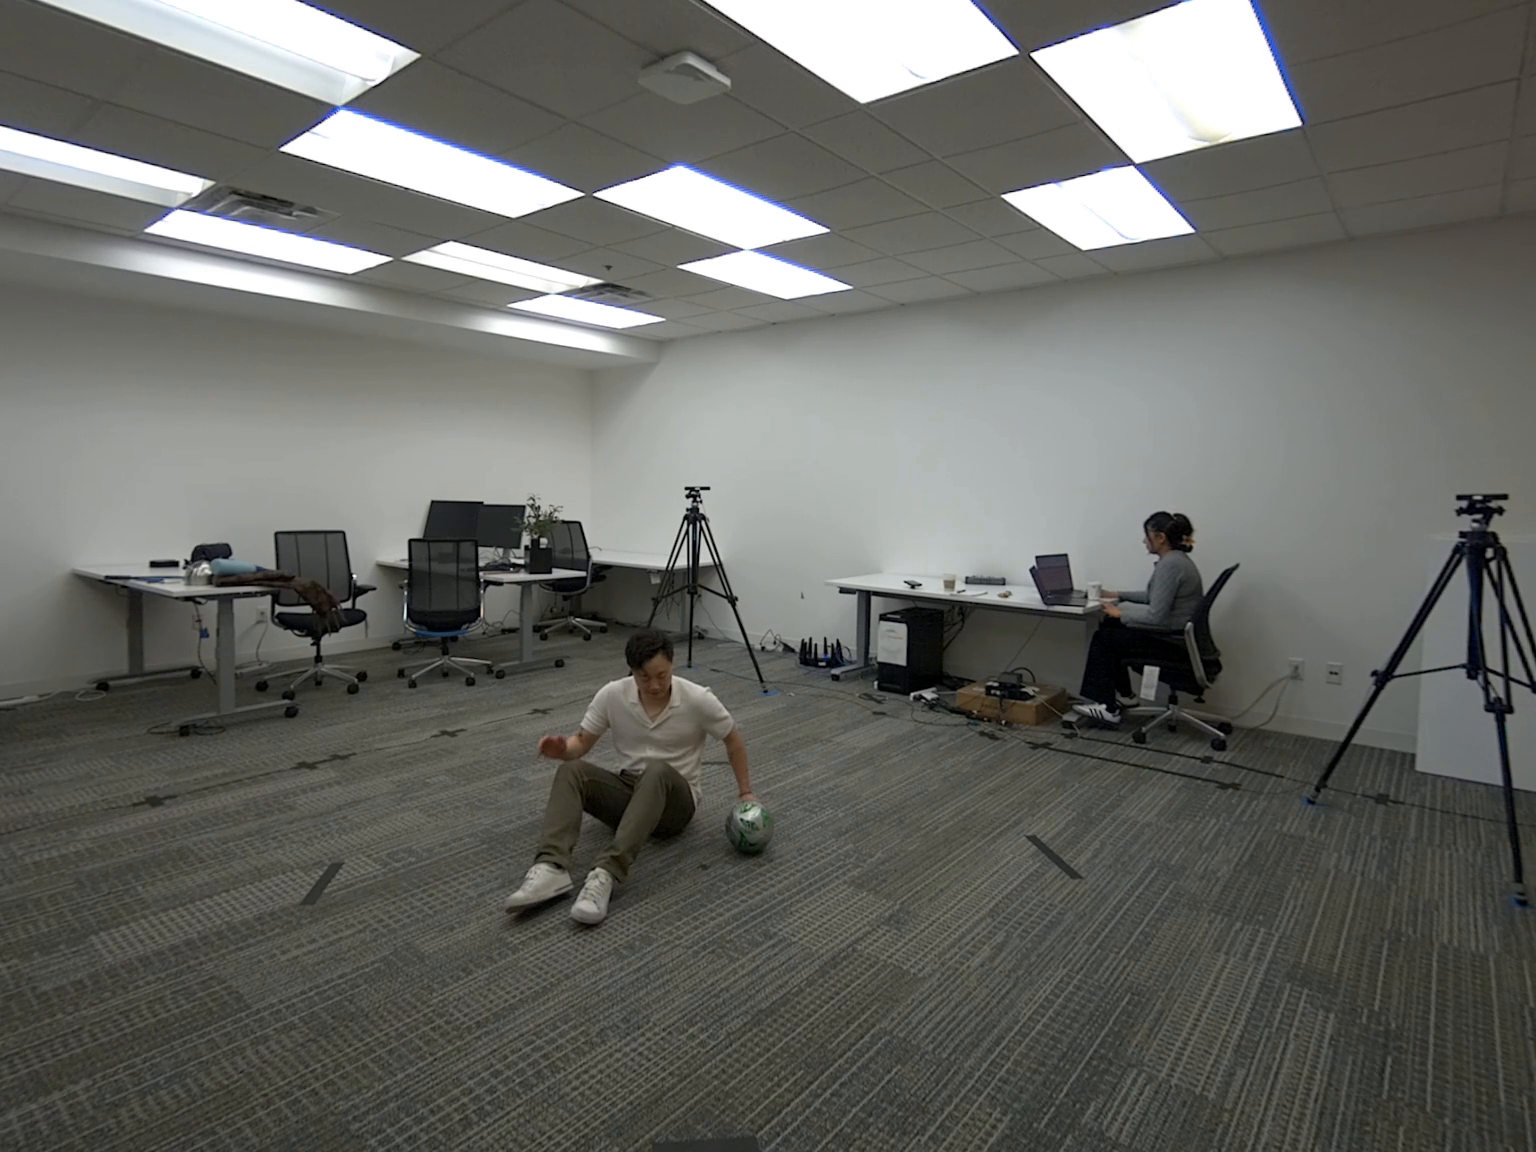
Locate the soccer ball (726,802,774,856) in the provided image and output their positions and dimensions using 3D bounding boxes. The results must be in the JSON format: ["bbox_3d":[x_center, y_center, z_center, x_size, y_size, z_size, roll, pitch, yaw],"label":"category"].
[{"bbox_3d":[-0.079,0.958,3.255,0.187,0.187,0.188,1,4,-2],"label":"soccer ball"}]
